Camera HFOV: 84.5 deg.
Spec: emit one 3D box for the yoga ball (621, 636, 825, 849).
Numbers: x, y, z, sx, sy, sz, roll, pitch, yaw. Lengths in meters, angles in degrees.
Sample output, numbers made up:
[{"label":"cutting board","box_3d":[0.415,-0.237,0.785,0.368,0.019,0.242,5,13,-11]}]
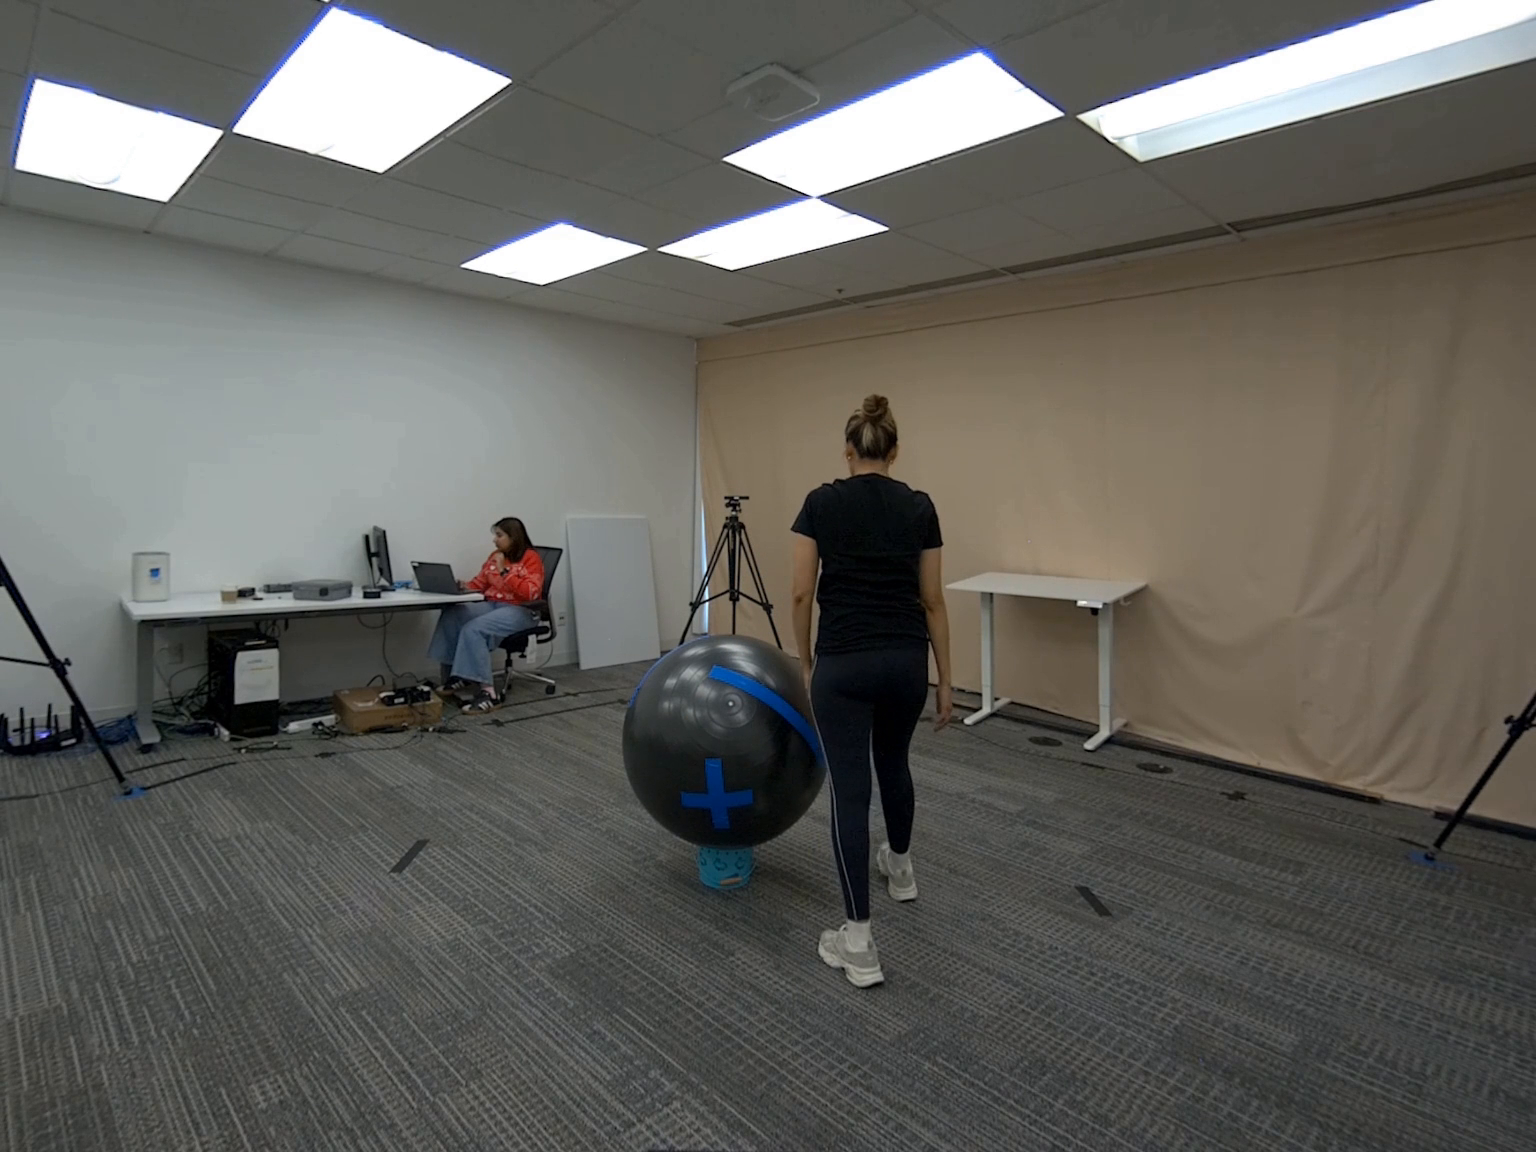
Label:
[{"label":"yoga ball","box_3d":[-0.154,0.598,3.065,0.757,0.756,0.761,1,4,-1]}]
